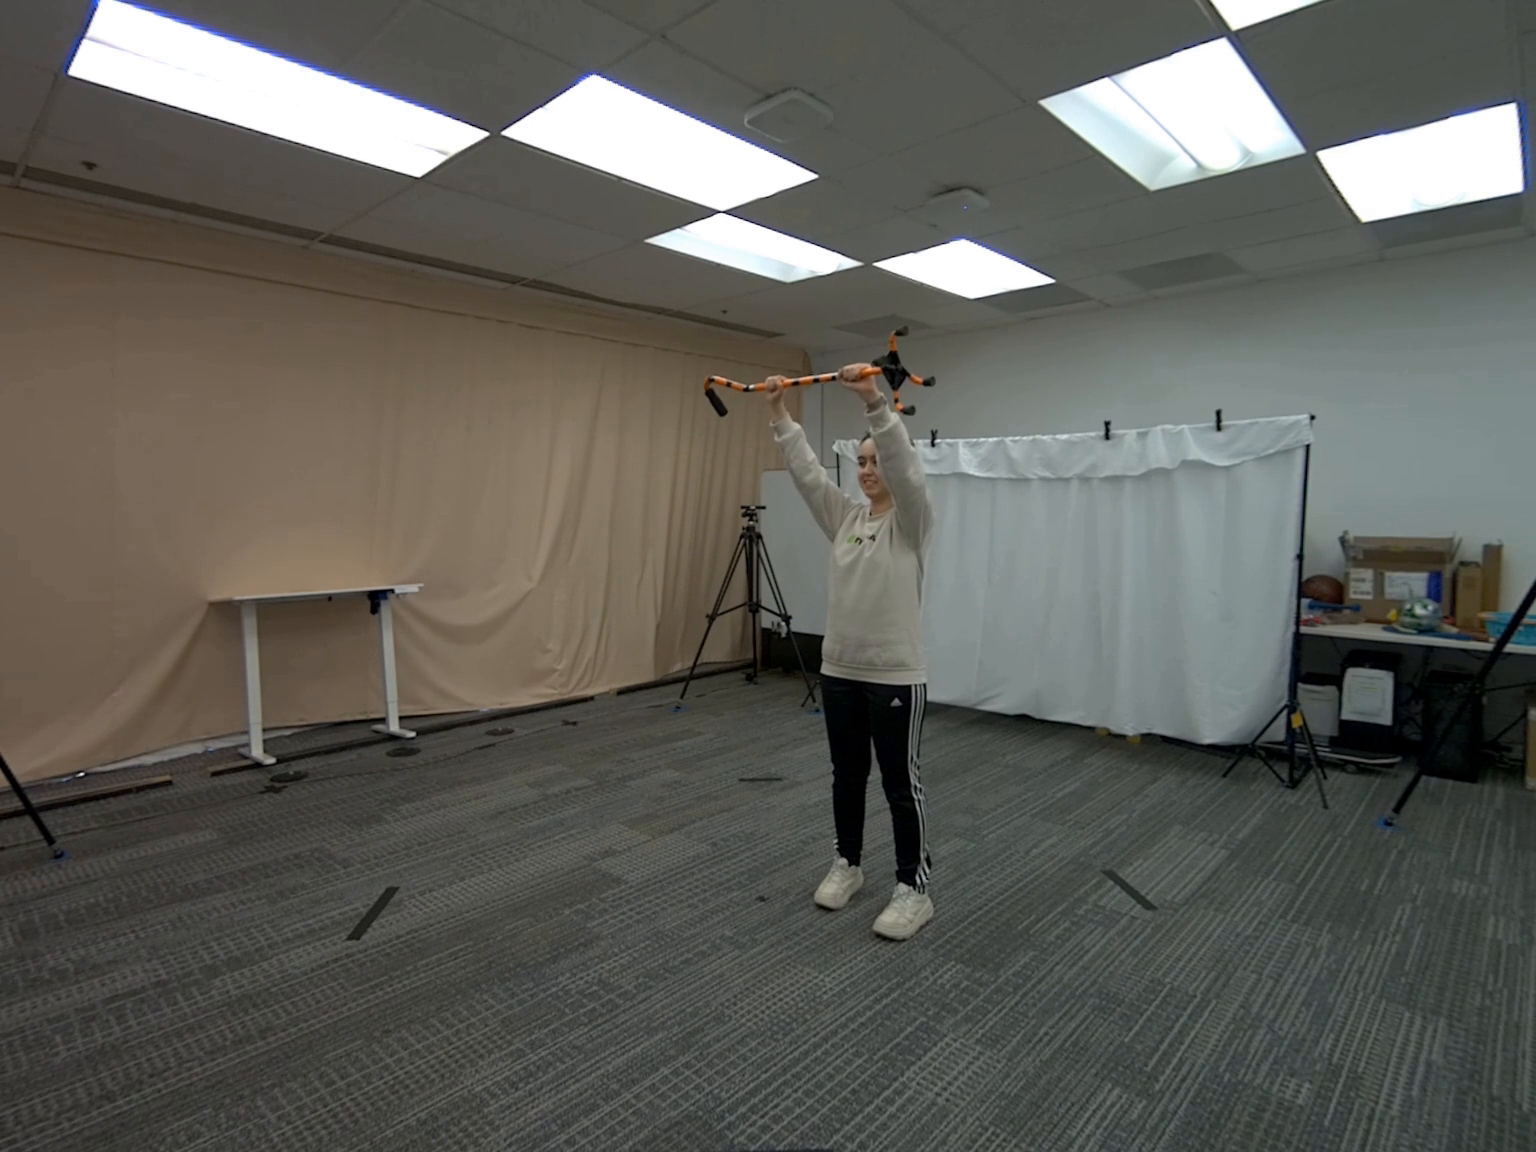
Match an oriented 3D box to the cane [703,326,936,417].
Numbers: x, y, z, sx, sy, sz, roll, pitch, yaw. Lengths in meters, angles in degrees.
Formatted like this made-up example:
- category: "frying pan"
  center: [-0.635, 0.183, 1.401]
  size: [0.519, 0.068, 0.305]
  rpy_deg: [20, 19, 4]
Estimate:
- category: "cane"
  center: [0.084, -0.602, 2.661]
  size: [0.938, 0.200, 0.151]
  rpy_deg: [7, 51, 50]
